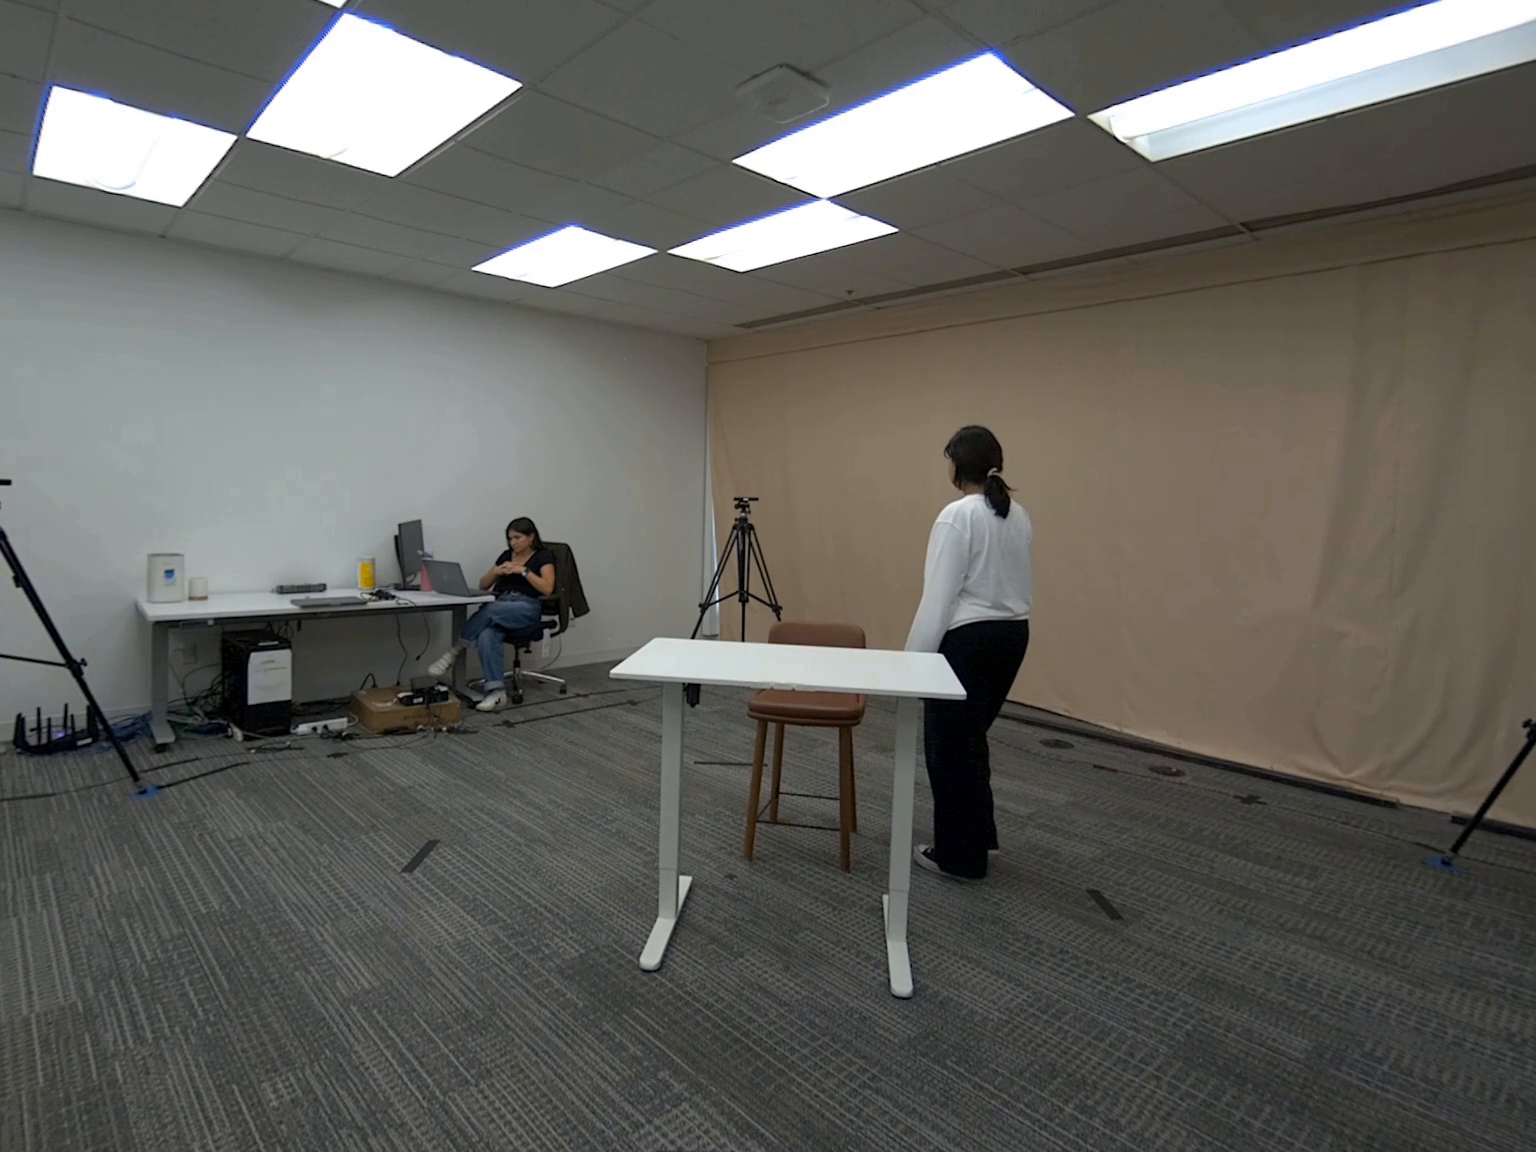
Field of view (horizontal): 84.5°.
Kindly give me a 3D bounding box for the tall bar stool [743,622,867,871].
[{"bbox_3d":[0.158,0.654,3.403,0.462,0.889,0.462,3,2,14],"label":"tall bar stool"}]
